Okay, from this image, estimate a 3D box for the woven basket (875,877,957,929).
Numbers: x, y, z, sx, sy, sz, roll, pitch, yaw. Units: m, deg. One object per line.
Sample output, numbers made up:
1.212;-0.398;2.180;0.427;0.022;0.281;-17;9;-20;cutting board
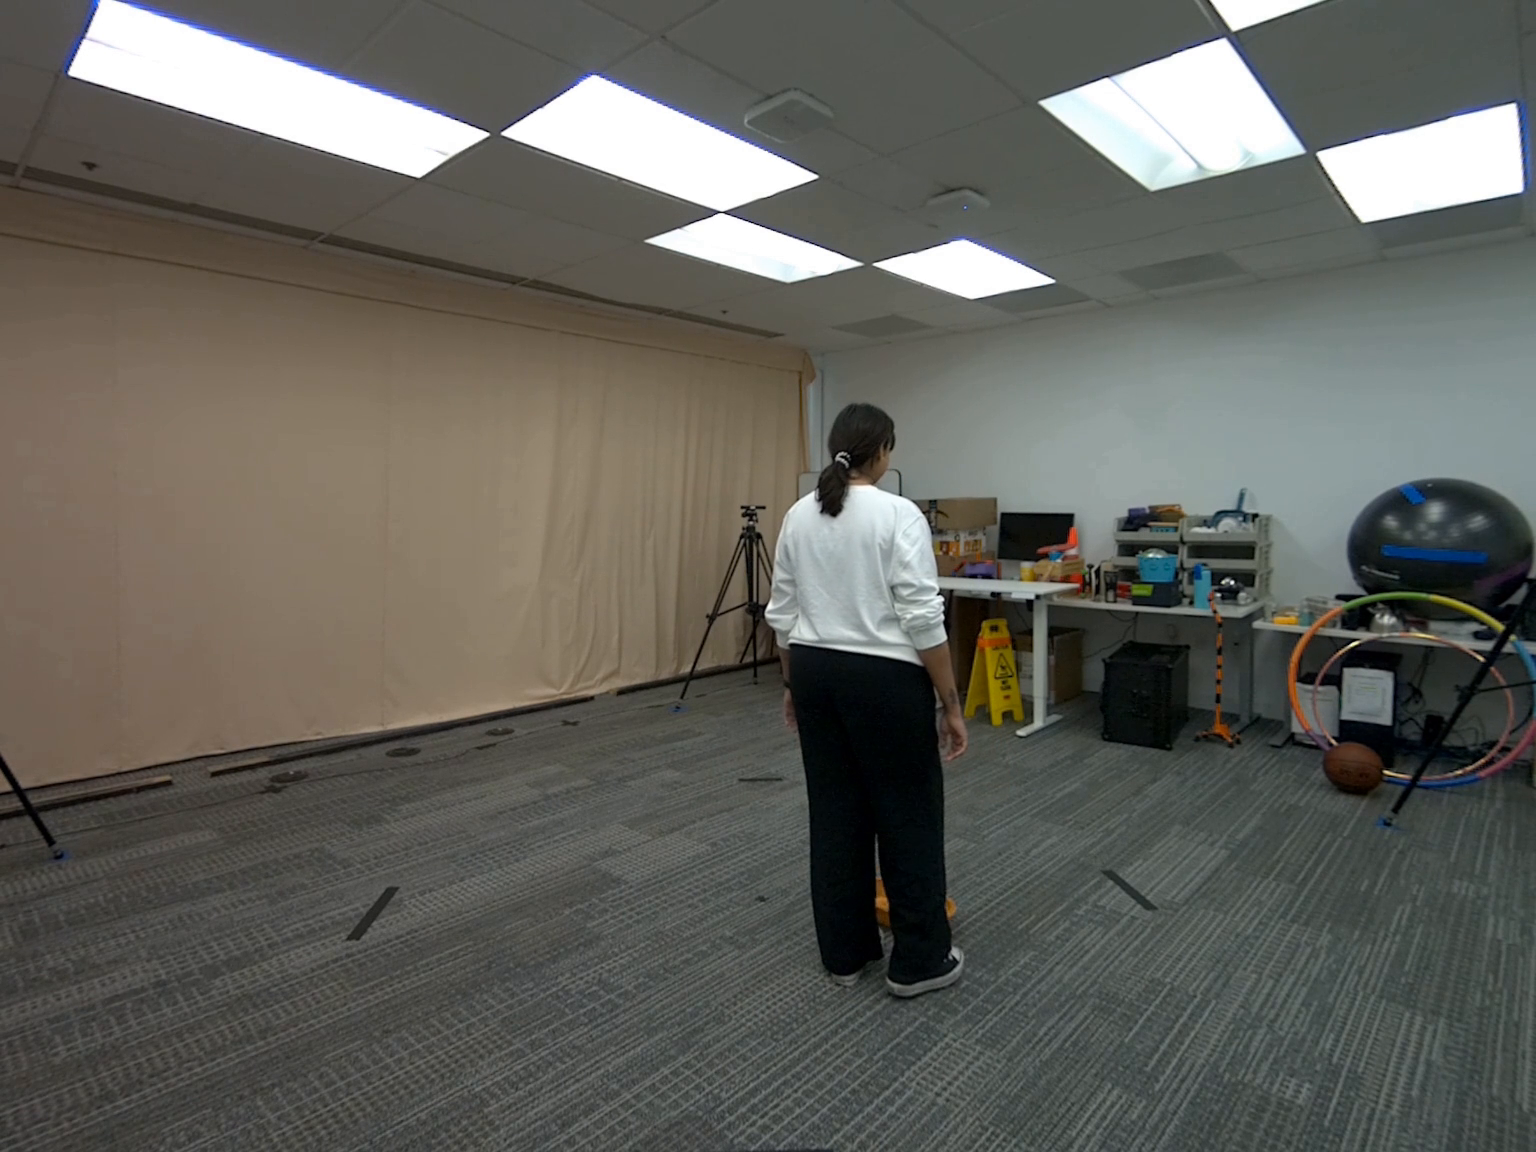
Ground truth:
0.465;1.114;2.838;0.362;0.073;0.244;4;4;44;woven basket
